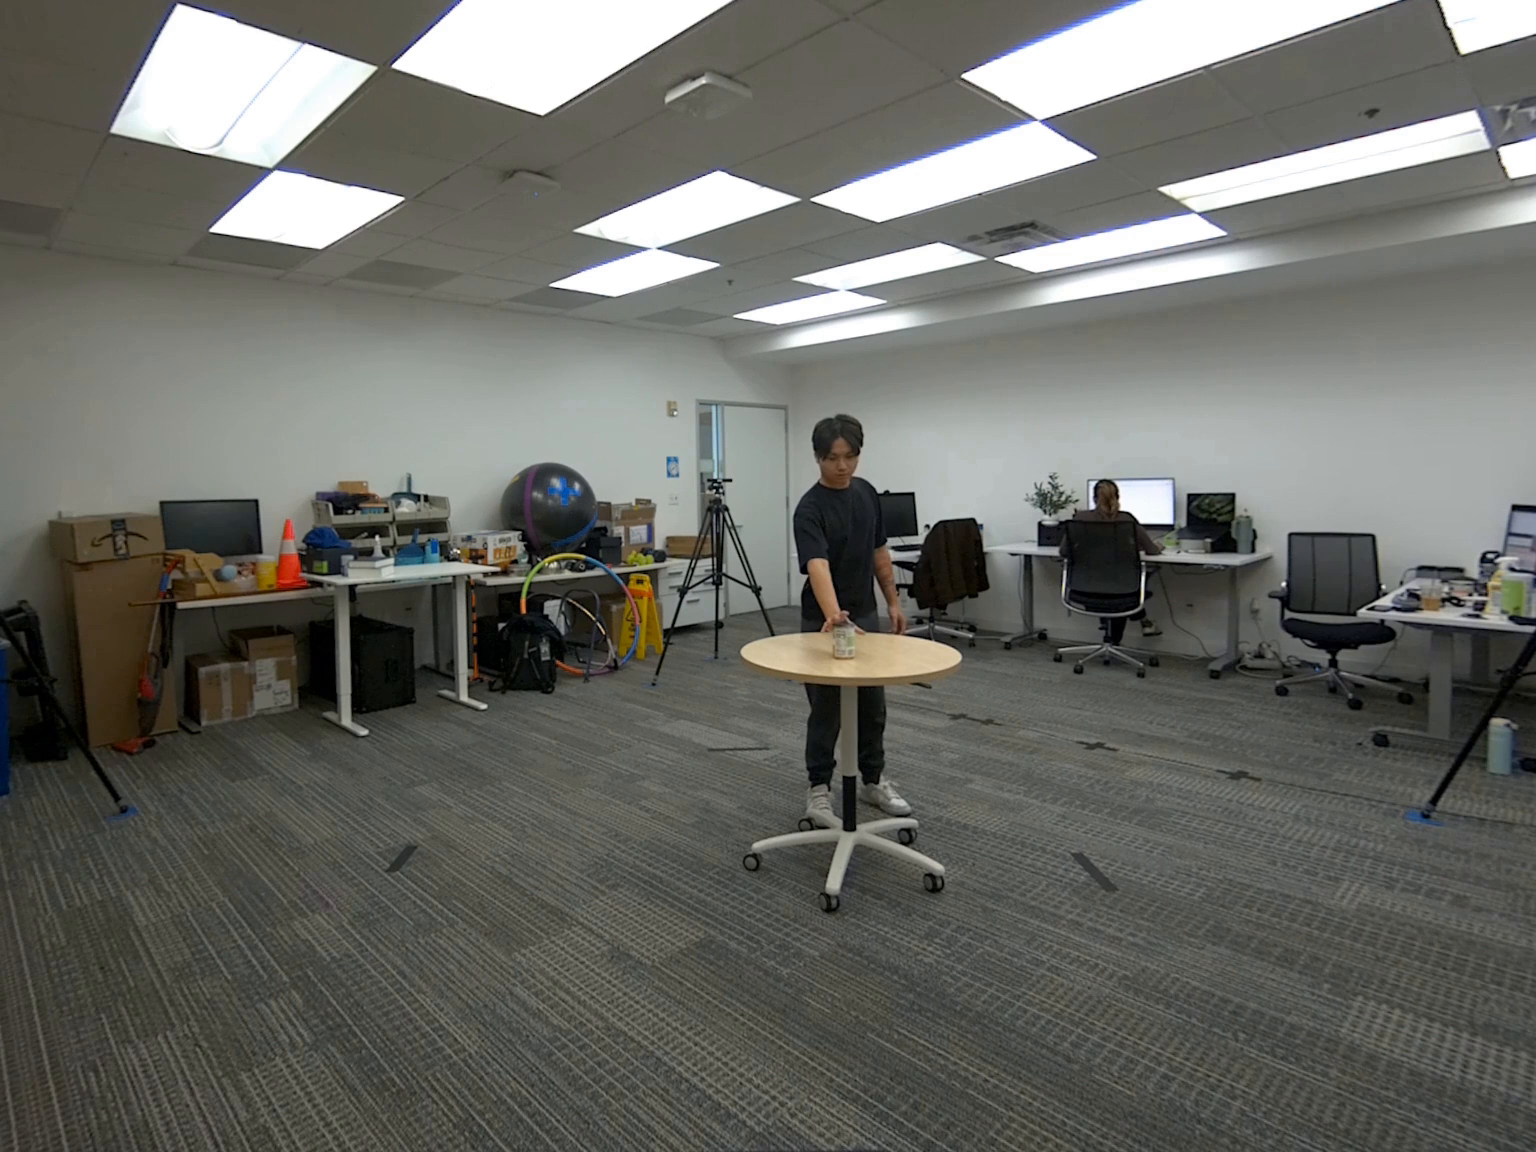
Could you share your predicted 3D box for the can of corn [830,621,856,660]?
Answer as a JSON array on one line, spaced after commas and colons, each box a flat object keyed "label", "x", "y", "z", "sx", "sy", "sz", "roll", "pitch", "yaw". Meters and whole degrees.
[{"label": "can of corn", "x": 0.259, "y": 0.225, "z": 2.915, "sx": 0.074, "sy": 0.110, "sz": 0.074, "roll": -3, "pitch": 4, "yaw": -1}]
